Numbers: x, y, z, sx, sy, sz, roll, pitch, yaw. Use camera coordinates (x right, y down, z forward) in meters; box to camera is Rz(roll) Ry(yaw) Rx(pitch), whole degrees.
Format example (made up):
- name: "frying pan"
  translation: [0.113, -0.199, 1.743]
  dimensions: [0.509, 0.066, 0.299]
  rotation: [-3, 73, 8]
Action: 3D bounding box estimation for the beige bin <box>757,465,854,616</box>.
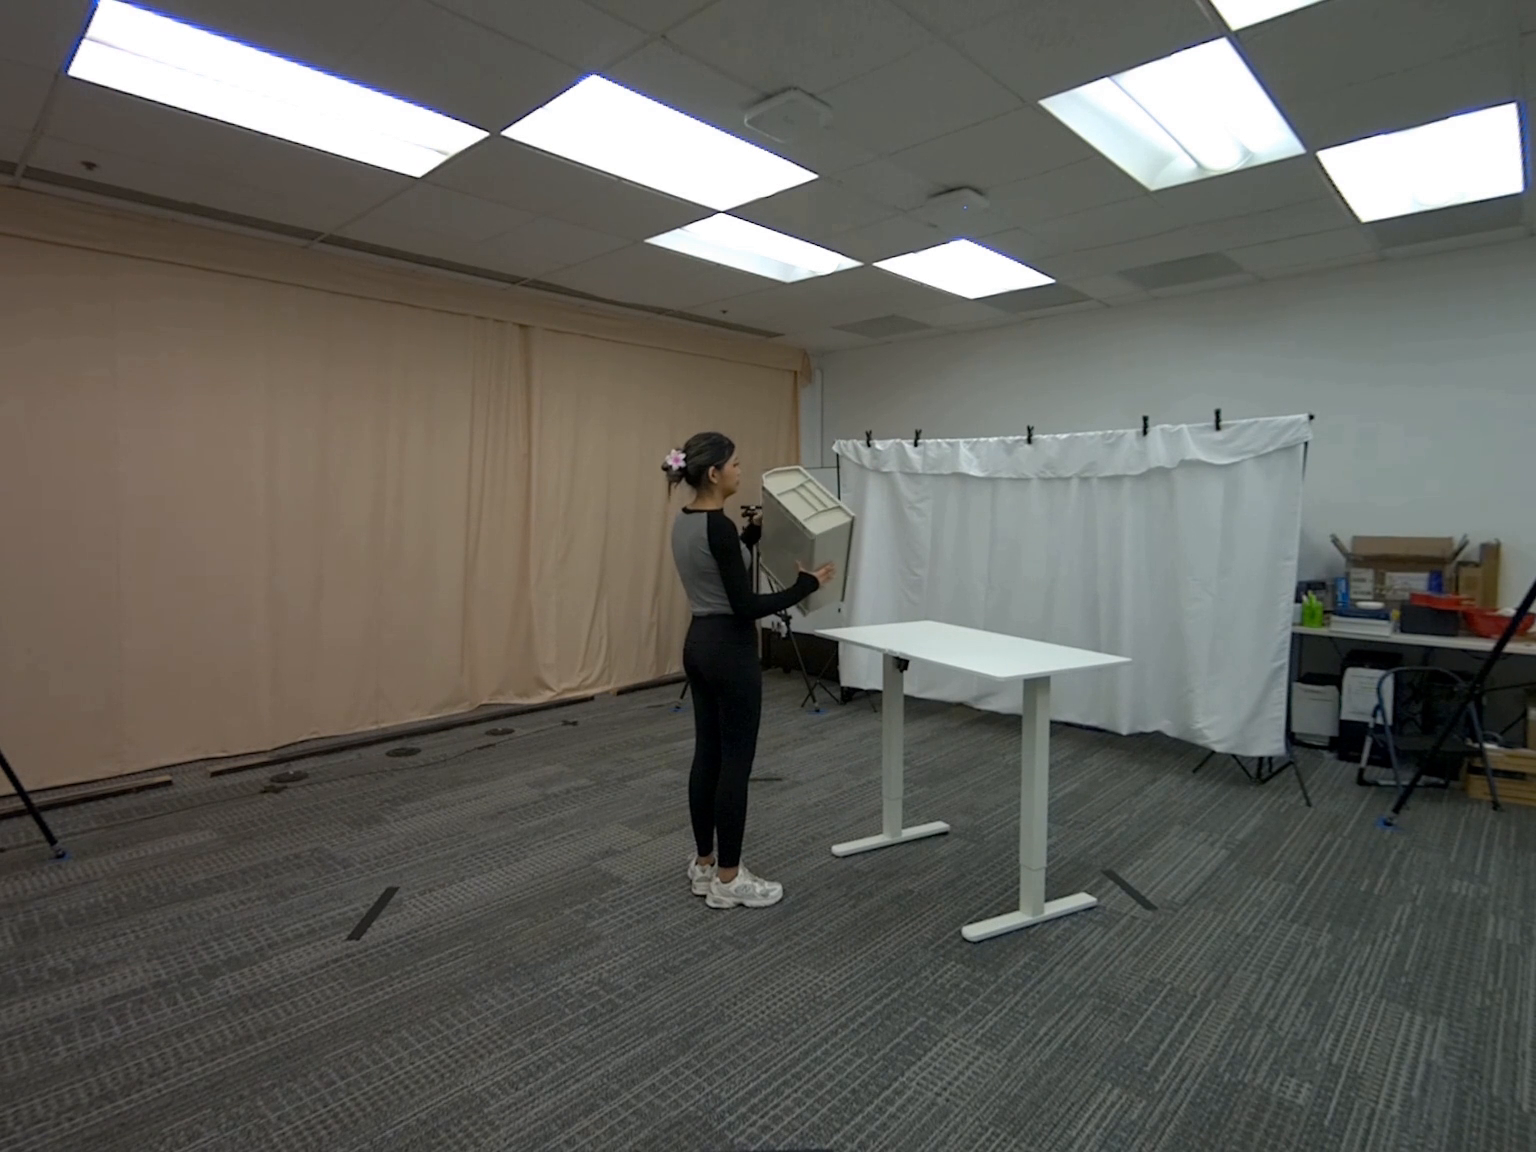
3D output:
- name: "beige bin"
  translation: [0.126, -0.133, 3.100]
  dimensions: [0.186, 0.414, 0.390]
  rotation: [-21, 47, -23]
